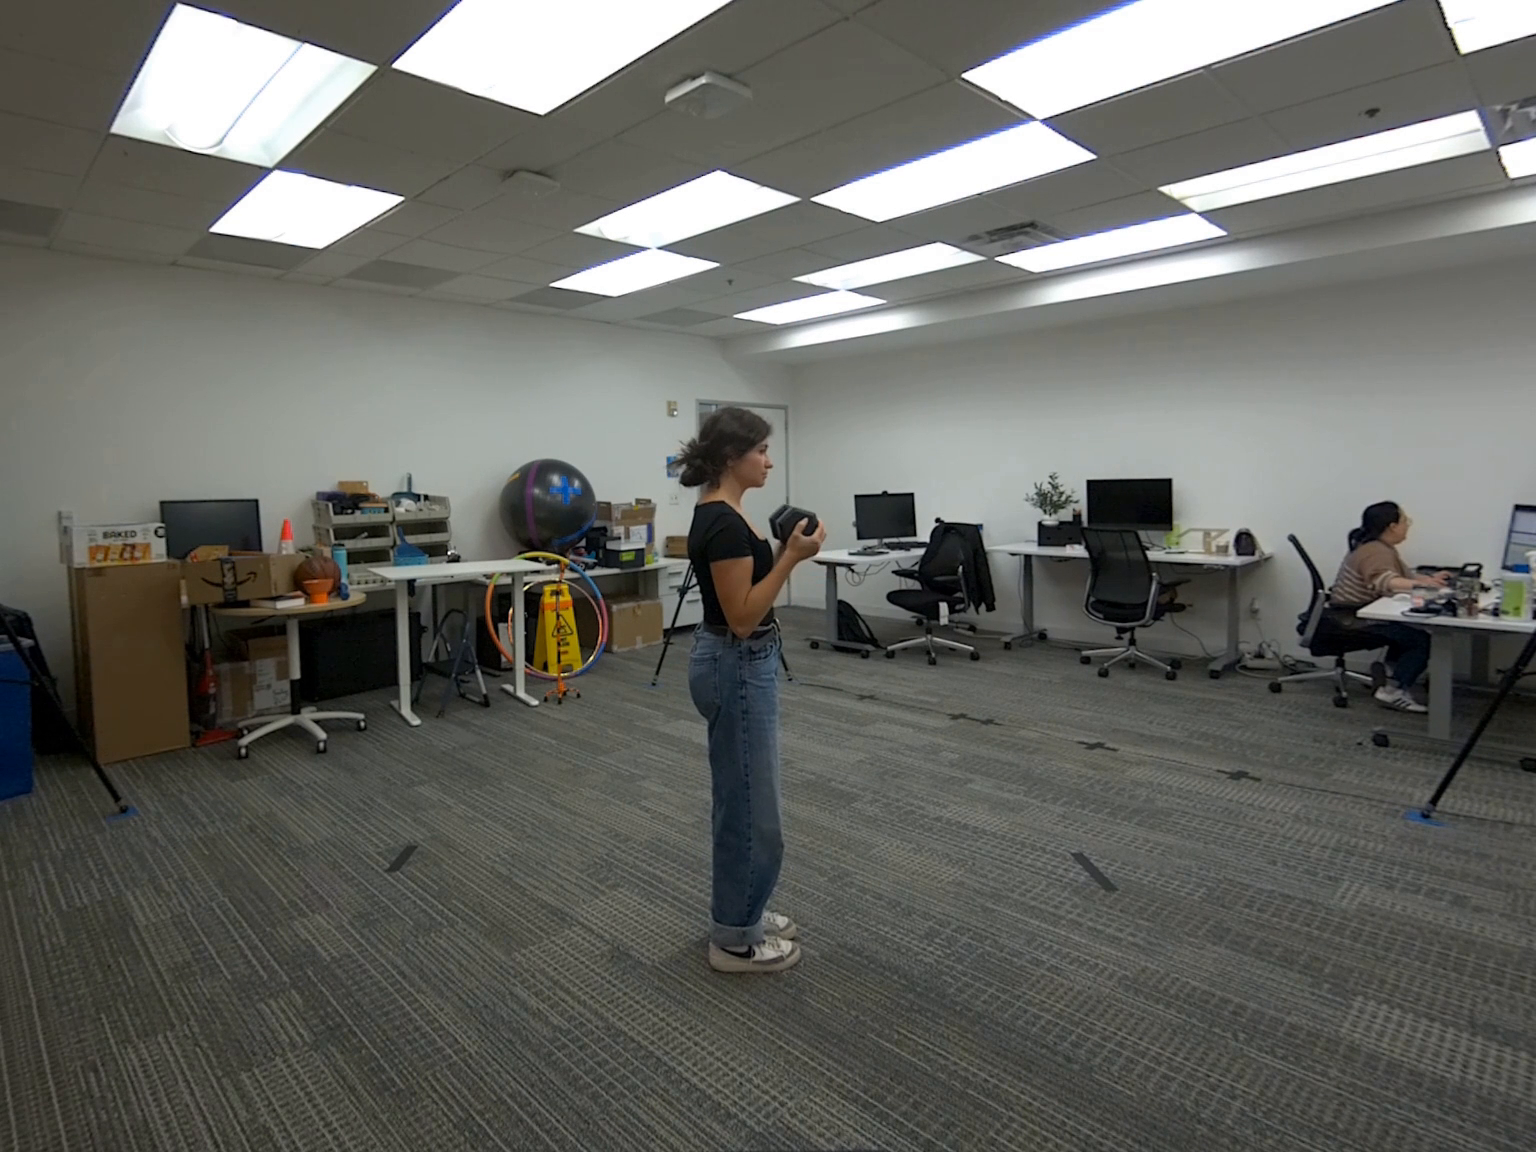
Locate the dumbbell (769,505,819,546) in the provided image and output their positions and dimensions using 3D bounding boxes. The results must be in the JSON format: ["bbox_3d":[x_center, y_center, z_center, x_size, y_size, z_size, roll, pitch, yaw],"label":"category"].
[{"bbox_3d":[0.084,-0.136,2.439,0.108,0.122,0.297,-14,10,-4],"label":"dumbbell"}]
